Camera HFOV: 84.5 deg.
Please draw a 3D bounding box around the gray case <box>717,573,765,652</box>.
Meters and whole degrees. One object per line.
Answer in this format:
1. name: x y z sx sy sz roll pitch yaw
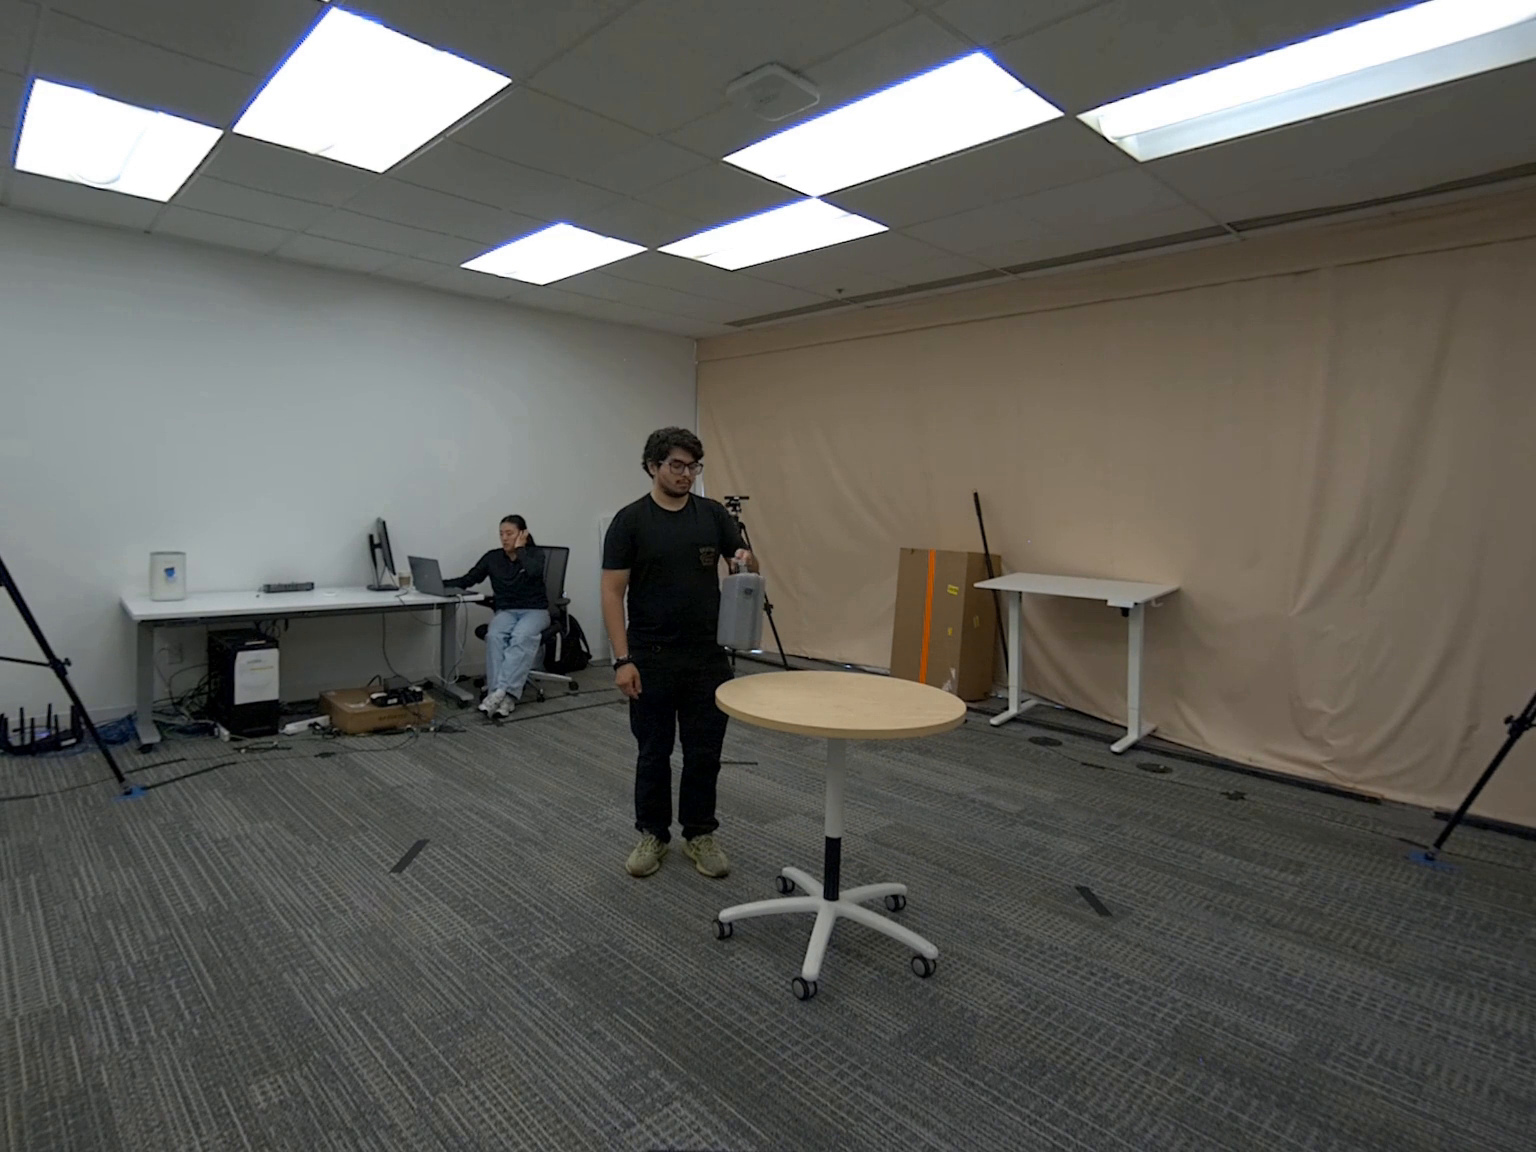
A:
1. gray case: -0.100 0.122 2.845 0.103 0.262 0.258 2 -5 -11
